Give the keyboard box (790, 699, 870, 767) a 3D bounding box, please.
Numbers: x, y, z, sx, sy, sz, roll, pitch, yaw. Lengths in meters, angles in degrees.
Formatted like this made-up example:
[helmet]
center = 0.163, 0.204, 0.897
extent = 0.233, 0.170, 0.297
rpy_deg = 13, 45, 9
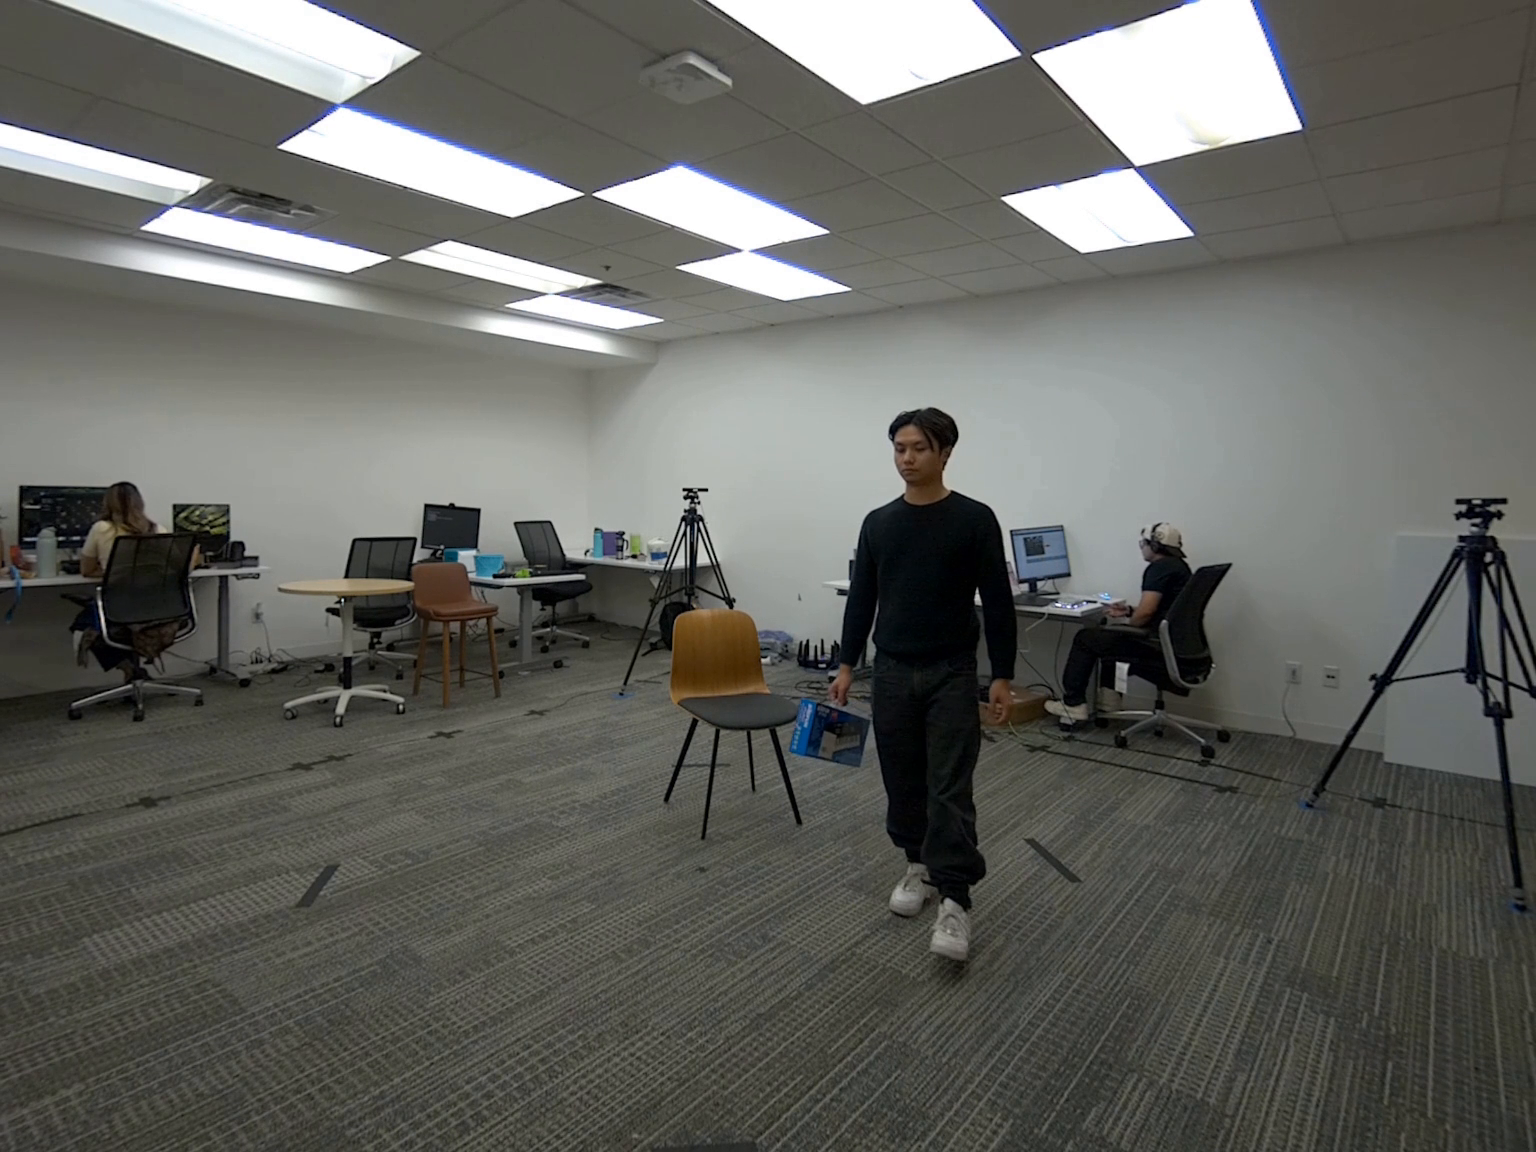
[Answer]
[keyboard box]
center = 0.215, 0.534, 2.862
extent = 0.061, 0.177, 0.420
rpy_deg = 7, -10, 34
